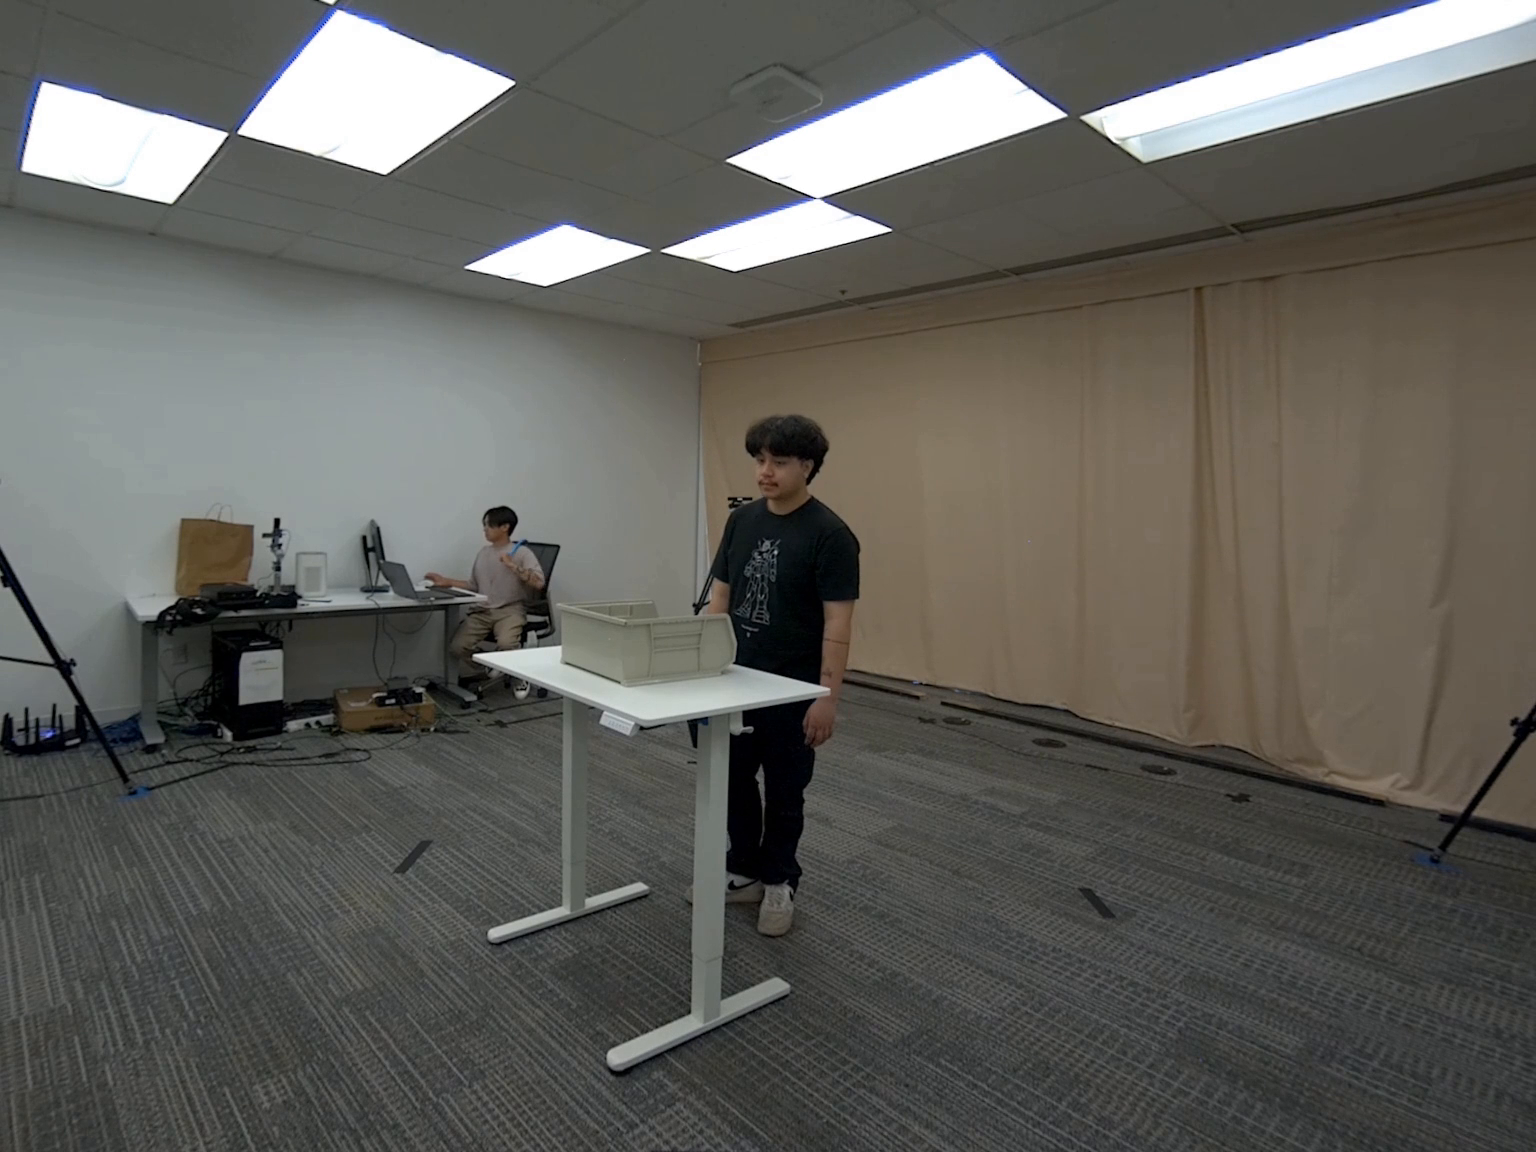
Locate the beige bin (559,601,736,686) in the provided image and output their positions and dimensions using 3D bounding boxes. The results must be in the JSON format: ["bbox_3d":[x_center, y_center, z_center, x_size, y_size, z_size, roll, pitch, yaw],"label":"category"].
[{"bbox_3d":[-0.376,0.189,2.494,0.369,0.188,0.433,-3,6,-37],"label":"beige bin"}]
